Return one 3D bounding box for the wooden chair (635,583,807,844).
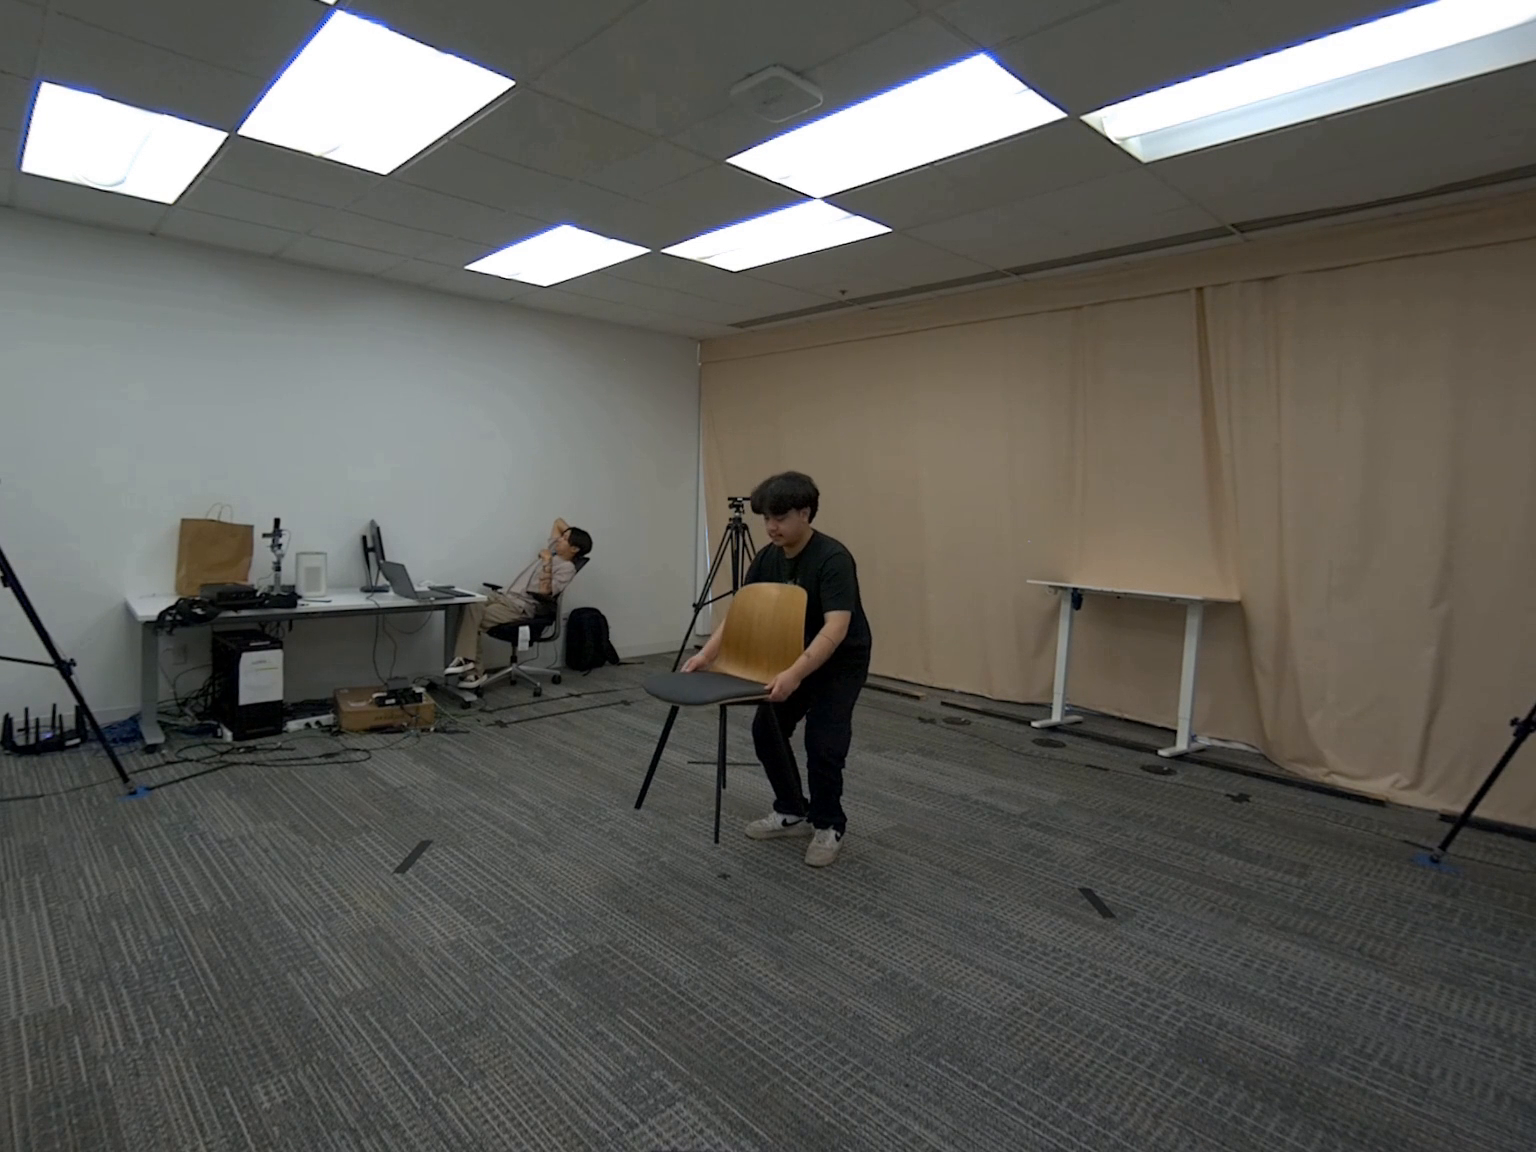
[{"bbox_3d":[-0.170,0.456,3.080,0.490,0.878,0.509,5,-2,45],"label":"wooden chair"}]
